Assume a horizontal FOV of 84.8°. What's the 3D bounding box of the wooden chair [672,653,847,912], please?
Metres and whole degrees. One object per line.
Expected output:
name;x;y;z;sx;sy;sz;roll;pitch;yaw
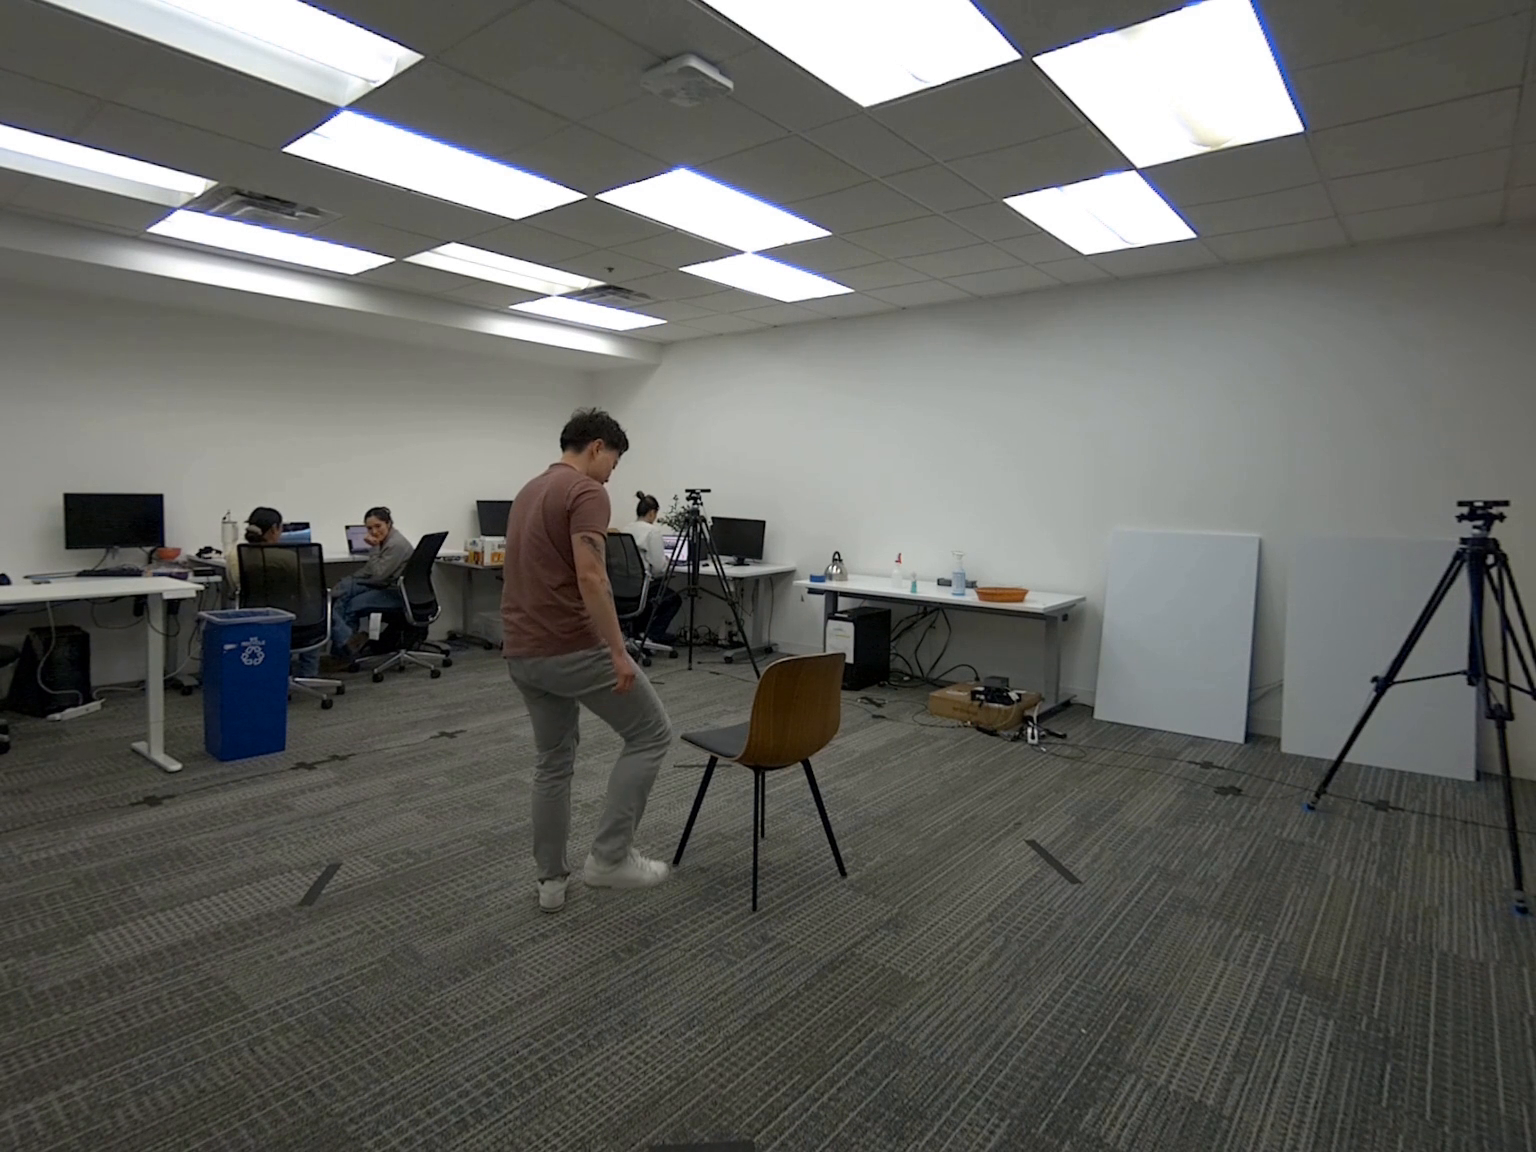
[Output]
wooden chair;-0.034;0.653;3.103;0.463;0.872;0.542;-1;9;-41
